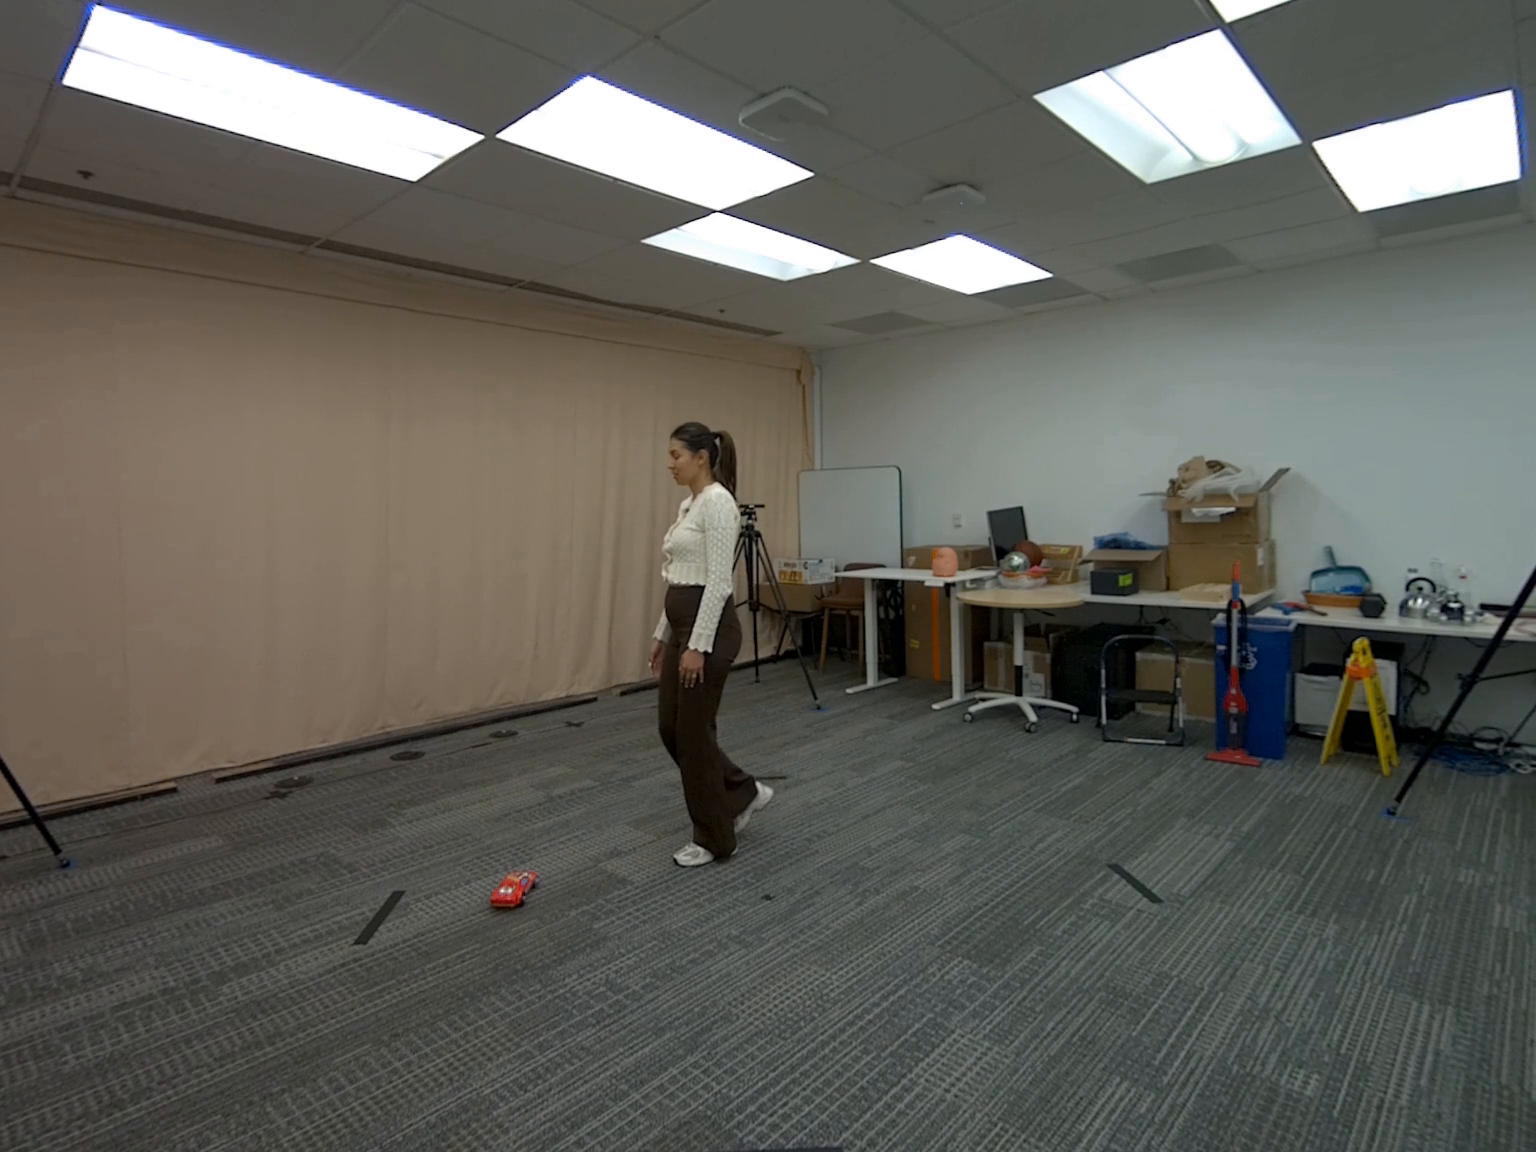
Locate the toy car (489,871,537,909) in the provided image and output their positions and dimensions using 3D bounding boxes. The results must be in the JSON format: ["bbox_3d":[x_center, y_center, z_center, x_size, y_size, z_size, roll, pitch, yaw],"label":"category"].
[{"bbox_3d":[-0.920,1.129,3.012,0.131,0.083,0.252,1,-7,4],"label":"toy car"}]
